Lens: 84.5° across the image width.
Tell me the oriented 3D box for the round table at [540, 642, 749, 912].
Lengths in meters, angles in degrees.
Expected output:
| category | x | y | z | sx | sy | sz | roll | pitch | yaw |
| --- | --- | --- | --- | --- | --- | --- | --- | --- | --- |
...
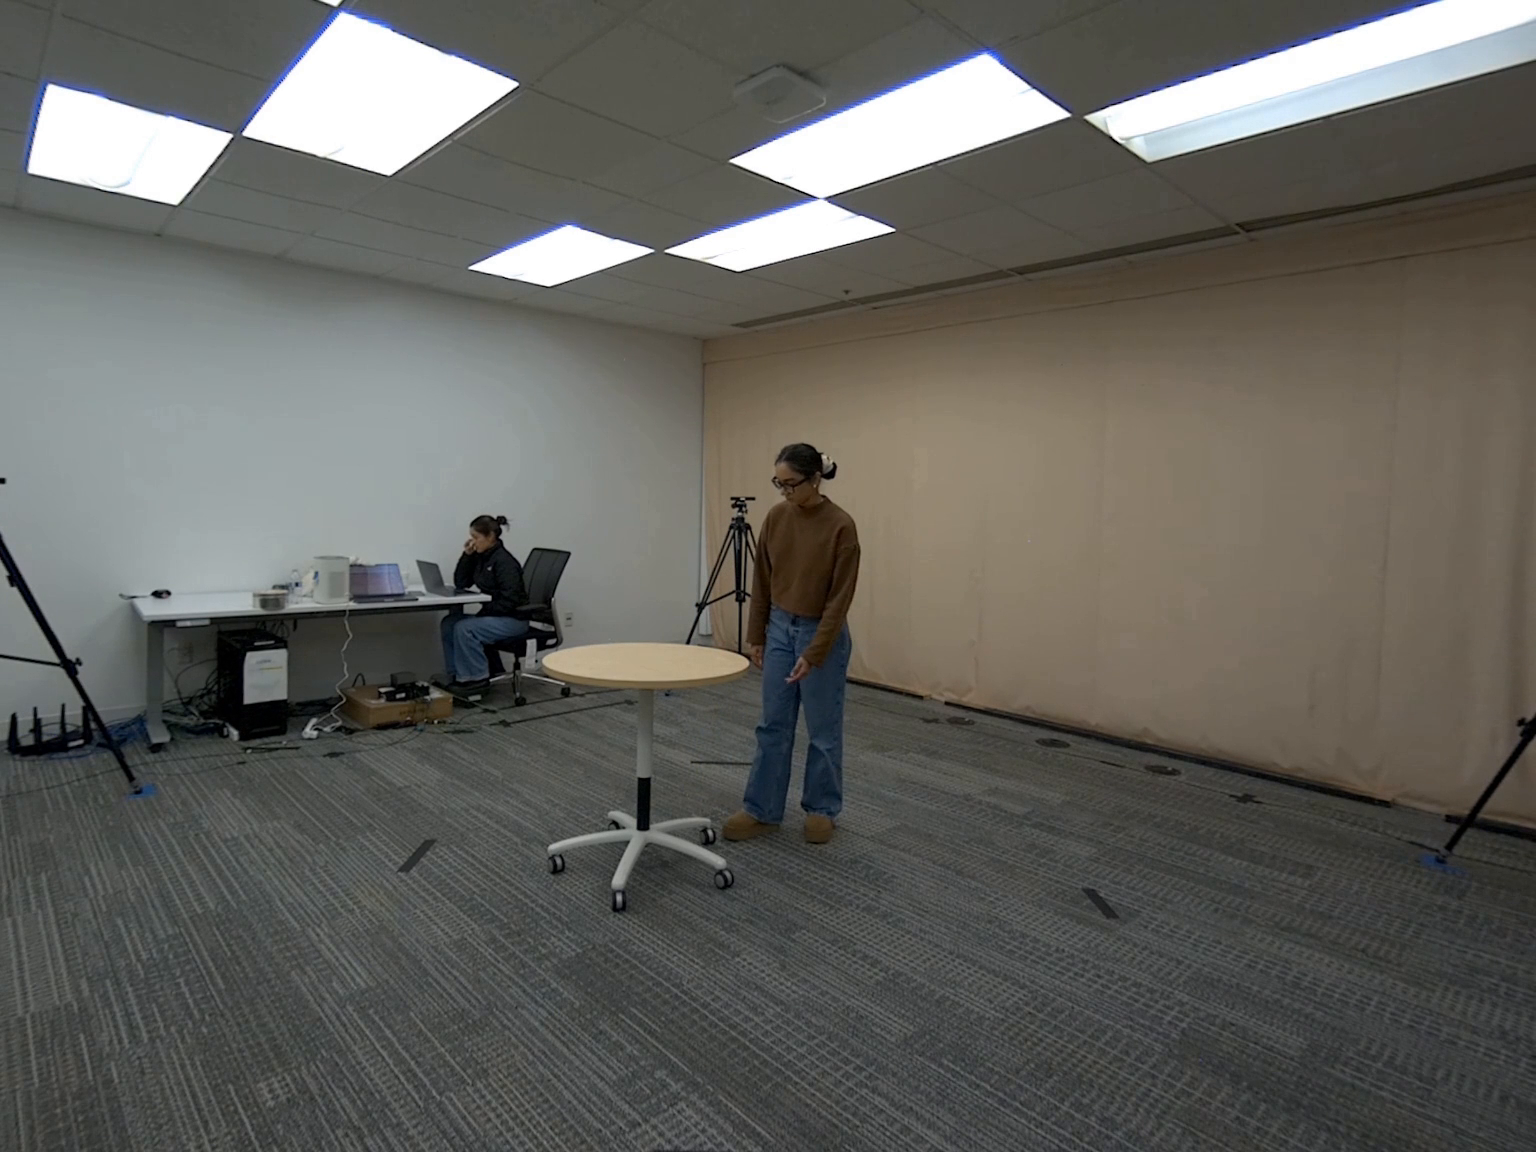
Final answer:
| category | x | y | z | sx | sy | sz | roll | pitch | yaw |
| --- | --- | --- | --- | --- | --- | --- | --- | --- | --- |
| round table | -0.463 | 0.706 | 3.154 | 0.763 | 0.792 | 0.766 | 1 | 4 | -1 |
